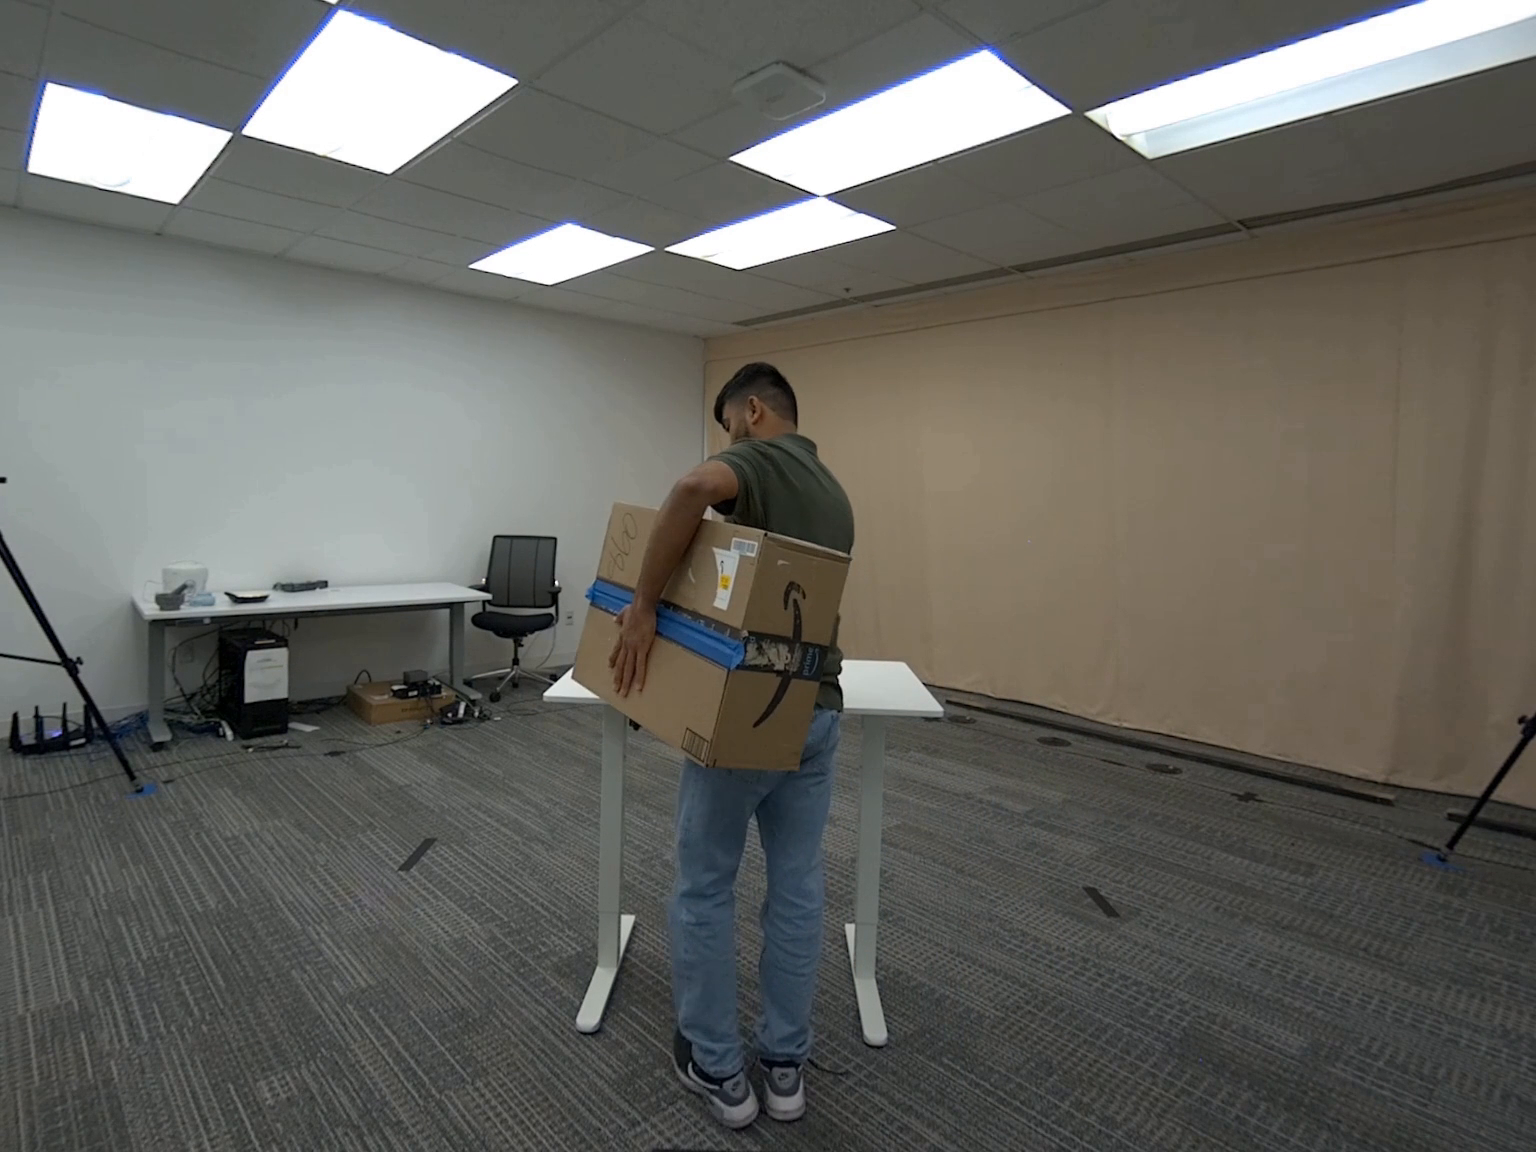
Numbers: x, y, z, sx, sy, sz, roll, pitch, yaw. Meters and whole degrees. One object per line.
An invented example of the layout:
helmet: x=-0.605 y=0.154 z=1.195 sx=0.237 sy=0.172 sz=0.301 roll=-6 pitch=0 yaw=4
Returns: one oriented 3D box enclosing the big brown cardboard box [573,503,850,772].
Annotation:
big brown cardboard box: x=-0.158 y=0.105 z=1.710 sx=0.227 sy=0.417 sz=0.605 roll=13 pitch=1 yaw=-36
